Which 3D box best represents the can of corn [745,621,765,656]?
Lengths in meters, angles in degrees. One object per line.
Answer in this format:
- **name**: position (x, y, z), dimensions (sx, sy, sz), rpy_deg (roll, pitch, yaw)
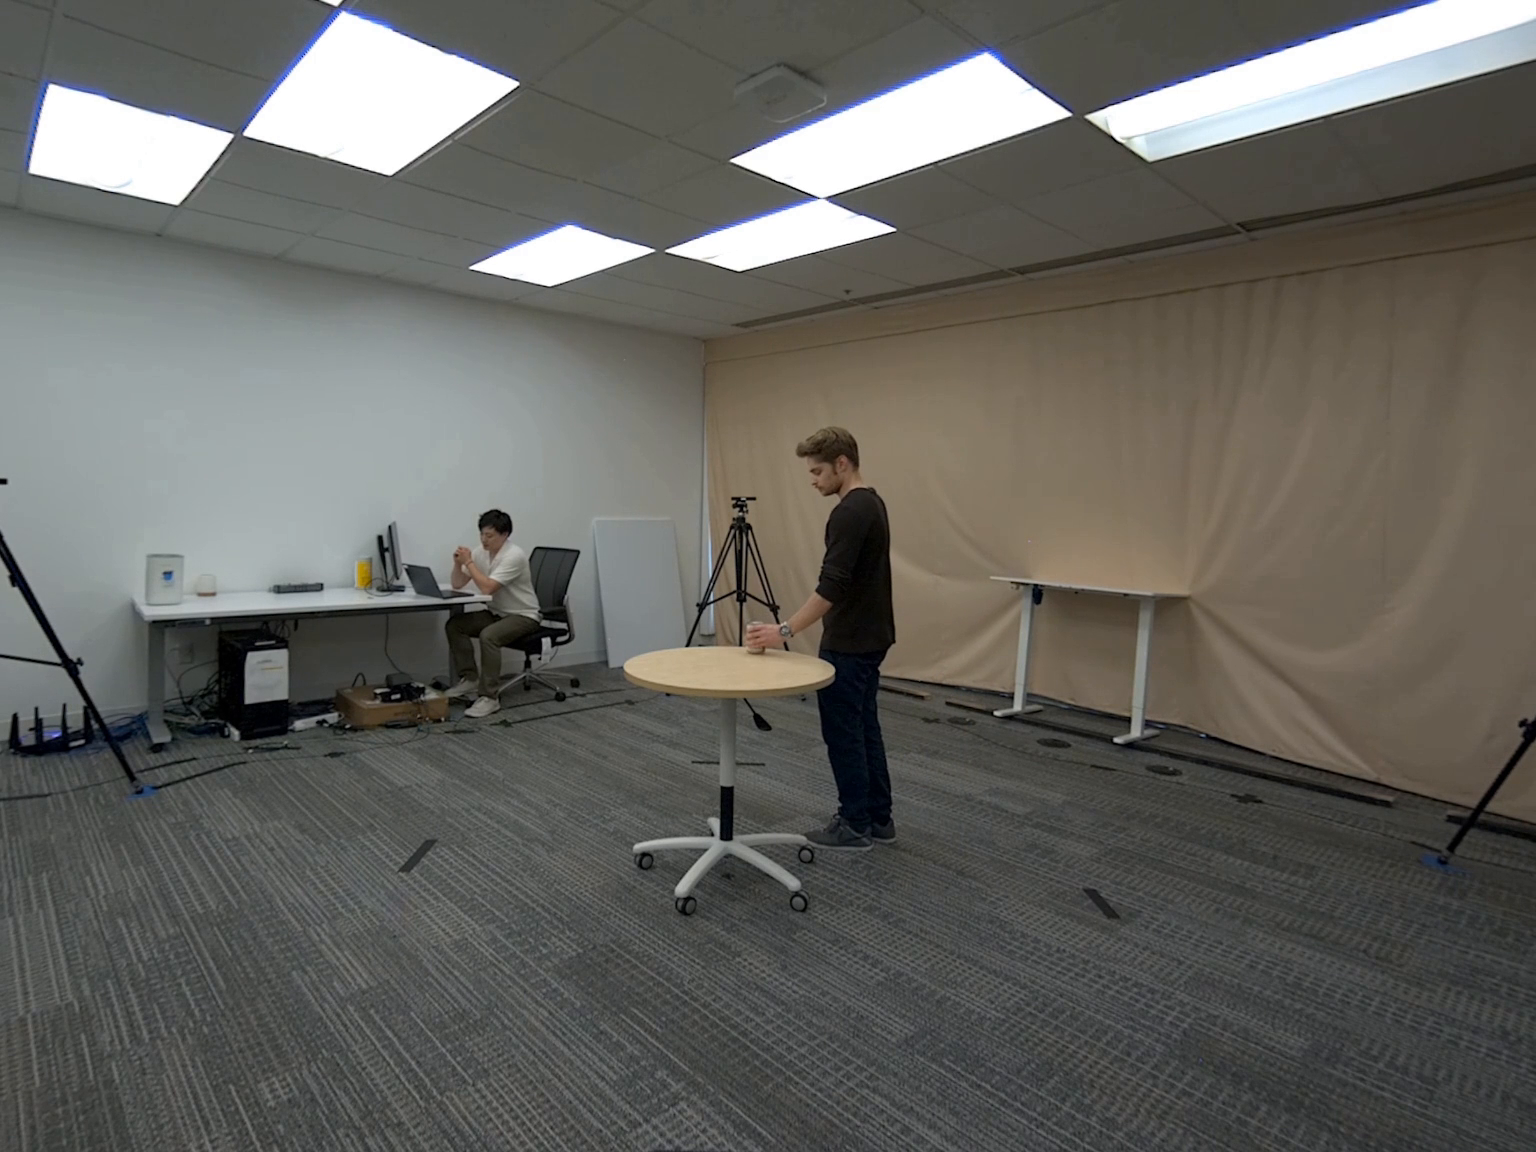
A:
- **can of corn**: position (-0.047, 0.240, 3.309), dimensions (0.074, 0.110, 0.074), rpy_deg (3, 6, -2)
